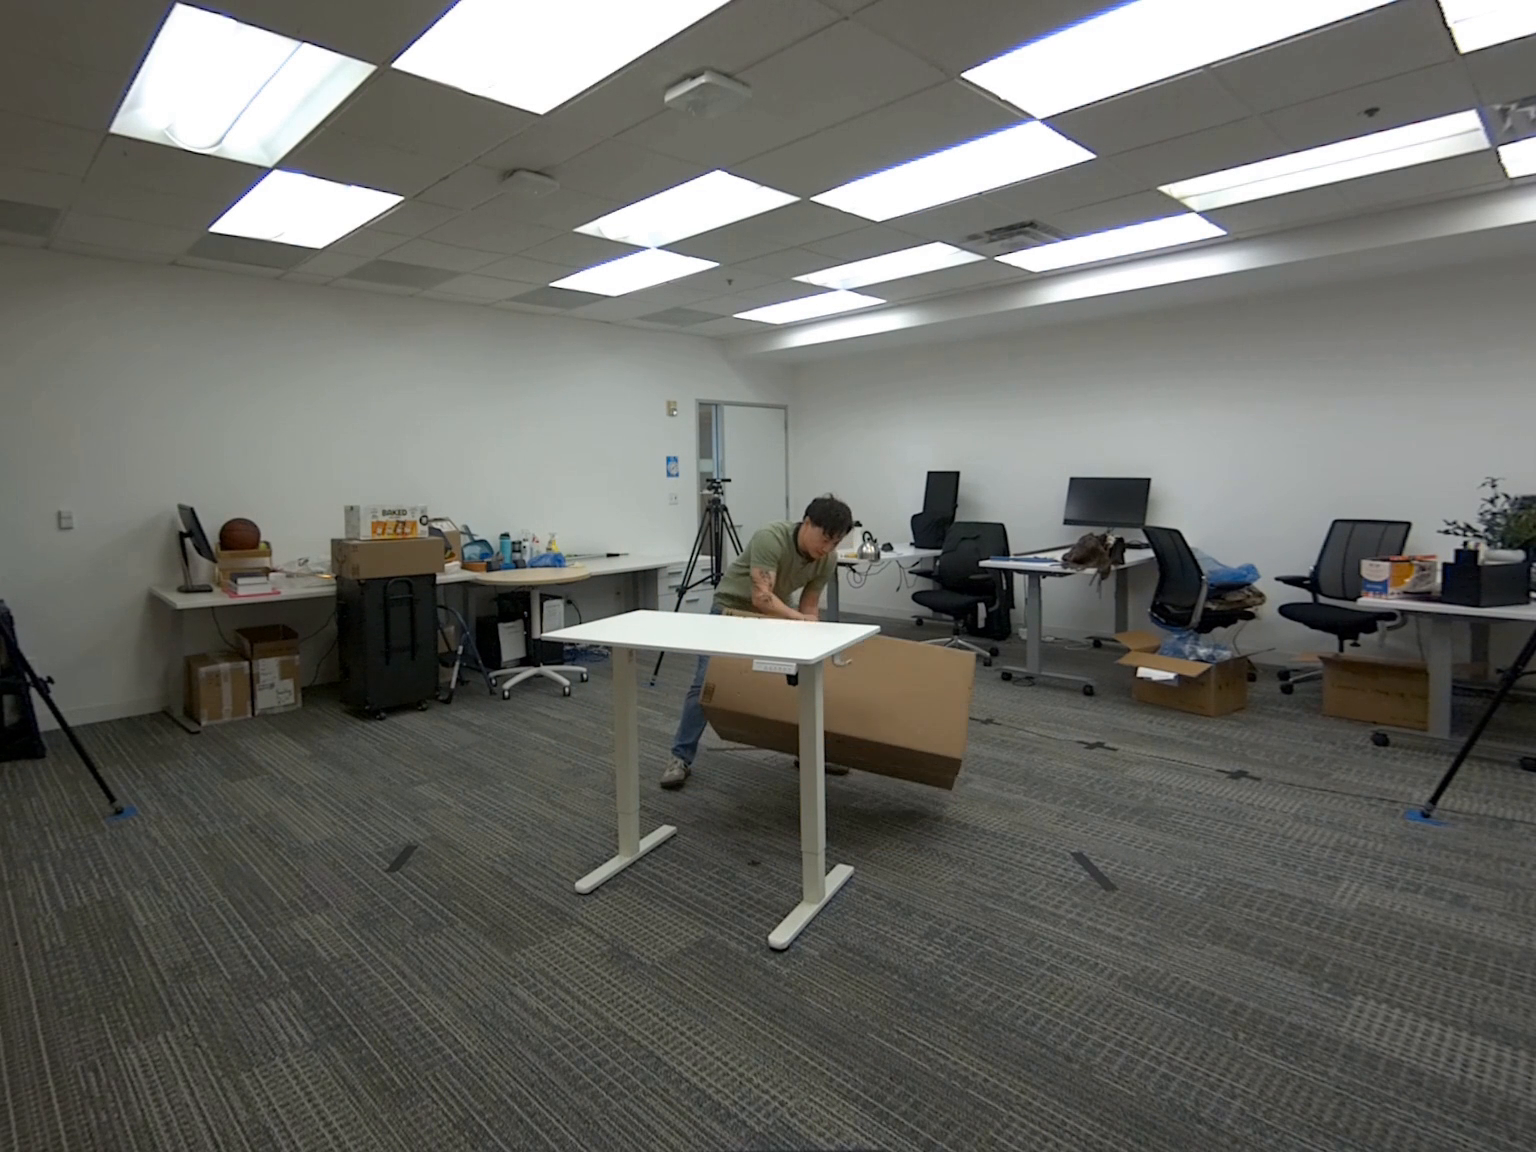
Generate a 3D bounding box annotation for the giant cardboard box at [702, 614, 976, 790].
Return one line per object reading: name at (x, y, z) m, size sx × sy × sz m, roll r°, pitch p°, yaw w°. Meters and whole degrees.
giant cardboard box at (0.302, 0.513, 3.571) m, size 1.042 × 0.432 × 0.561 m, roll 9°, pitch -25°, yaw 13°
